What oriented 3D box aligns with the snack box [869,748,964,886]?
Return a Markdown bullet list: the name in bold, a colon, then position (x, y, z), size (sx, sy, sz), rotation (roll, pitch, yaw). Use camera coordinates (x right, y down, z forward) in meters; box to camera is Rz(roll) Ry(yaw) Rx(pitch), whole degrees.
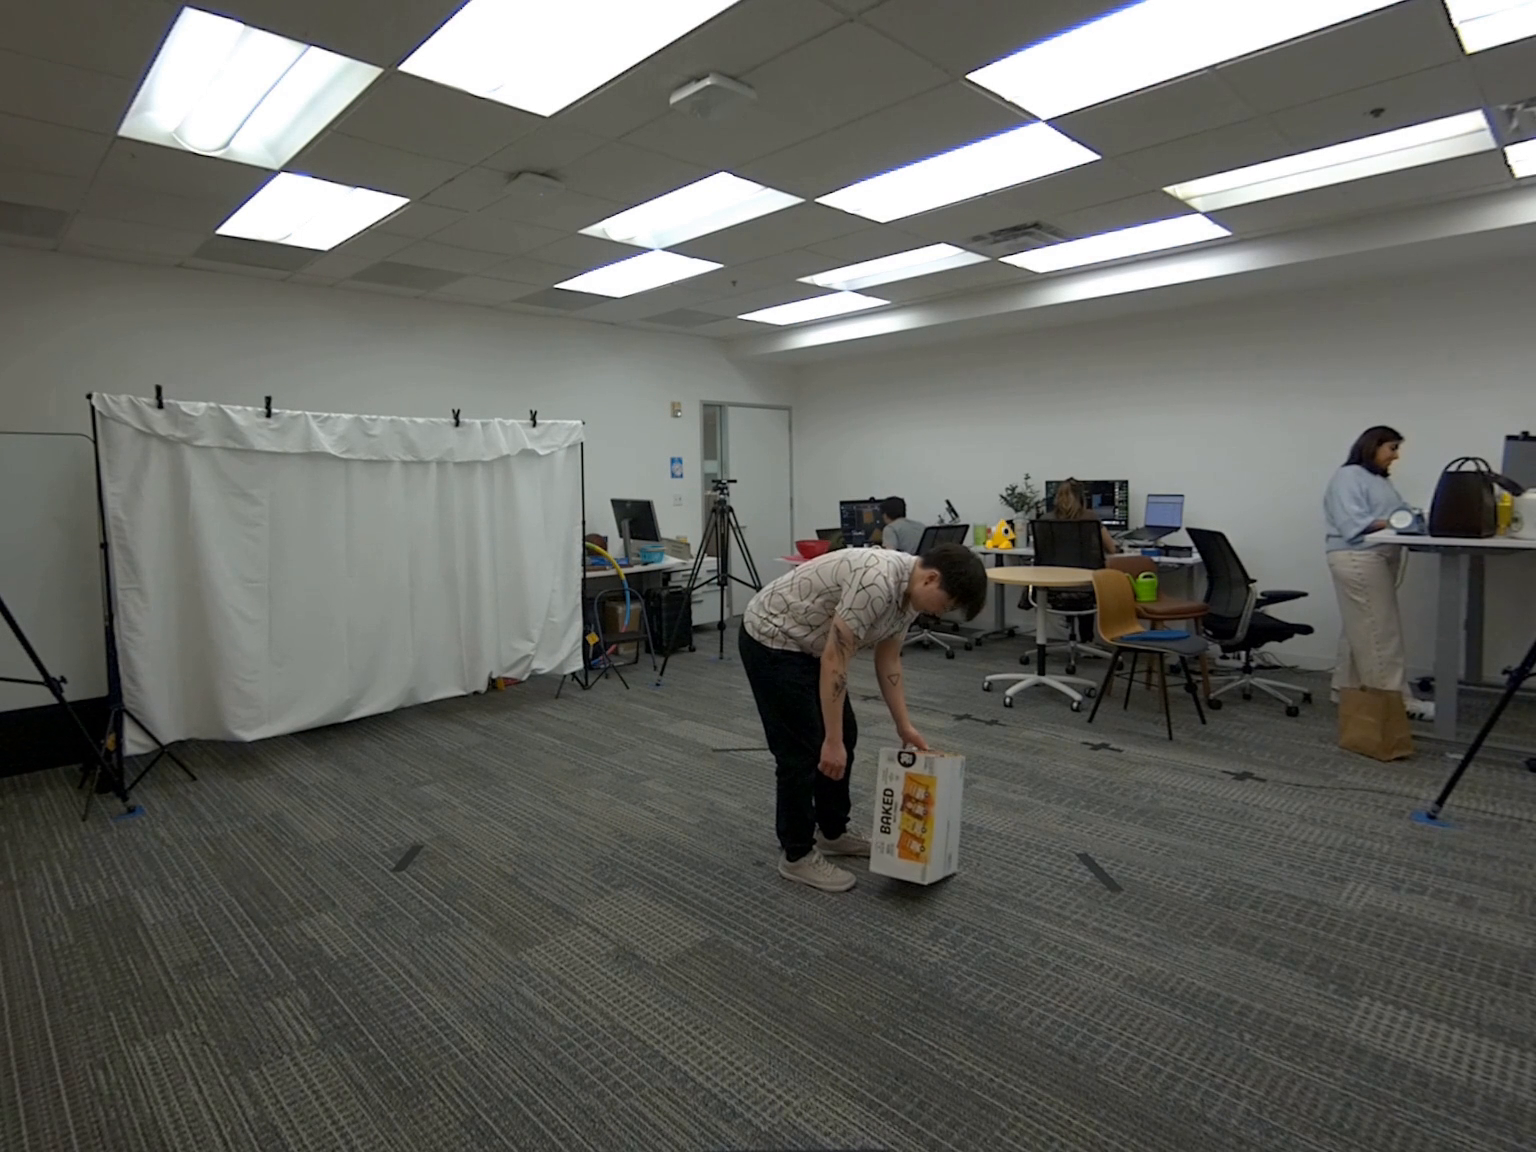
- **snack box**: position (0.531, 0.816, 2.955), size (0.211, 0.408, 0.329), rotation (1, -11, 30)
